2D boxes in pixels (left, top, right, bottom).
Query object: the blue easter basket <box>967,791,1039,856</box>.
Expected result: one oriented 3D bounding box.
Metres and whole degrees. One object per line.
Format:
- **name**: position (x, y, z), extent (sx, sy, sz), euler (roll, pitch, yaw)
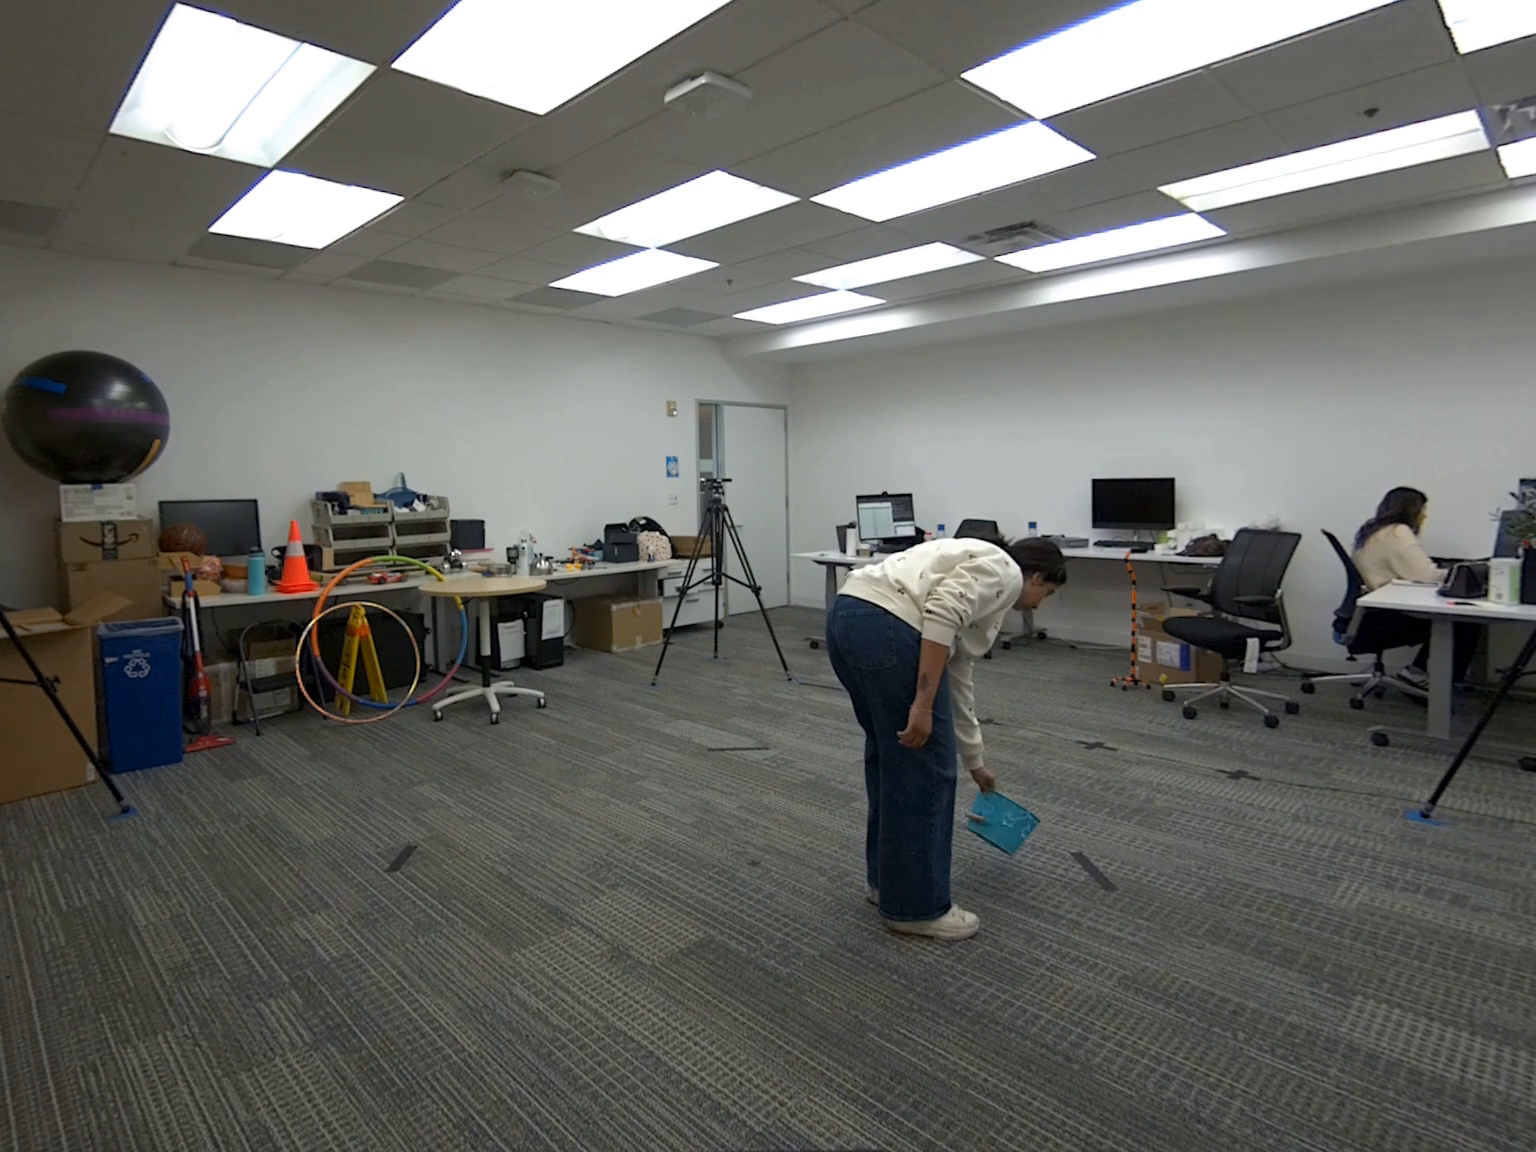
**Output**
- **blue easter basket**: position (0.802, 0.843, 2.967), extent (0.246, 0.156, 0.241), euler (32, -11, 5)
